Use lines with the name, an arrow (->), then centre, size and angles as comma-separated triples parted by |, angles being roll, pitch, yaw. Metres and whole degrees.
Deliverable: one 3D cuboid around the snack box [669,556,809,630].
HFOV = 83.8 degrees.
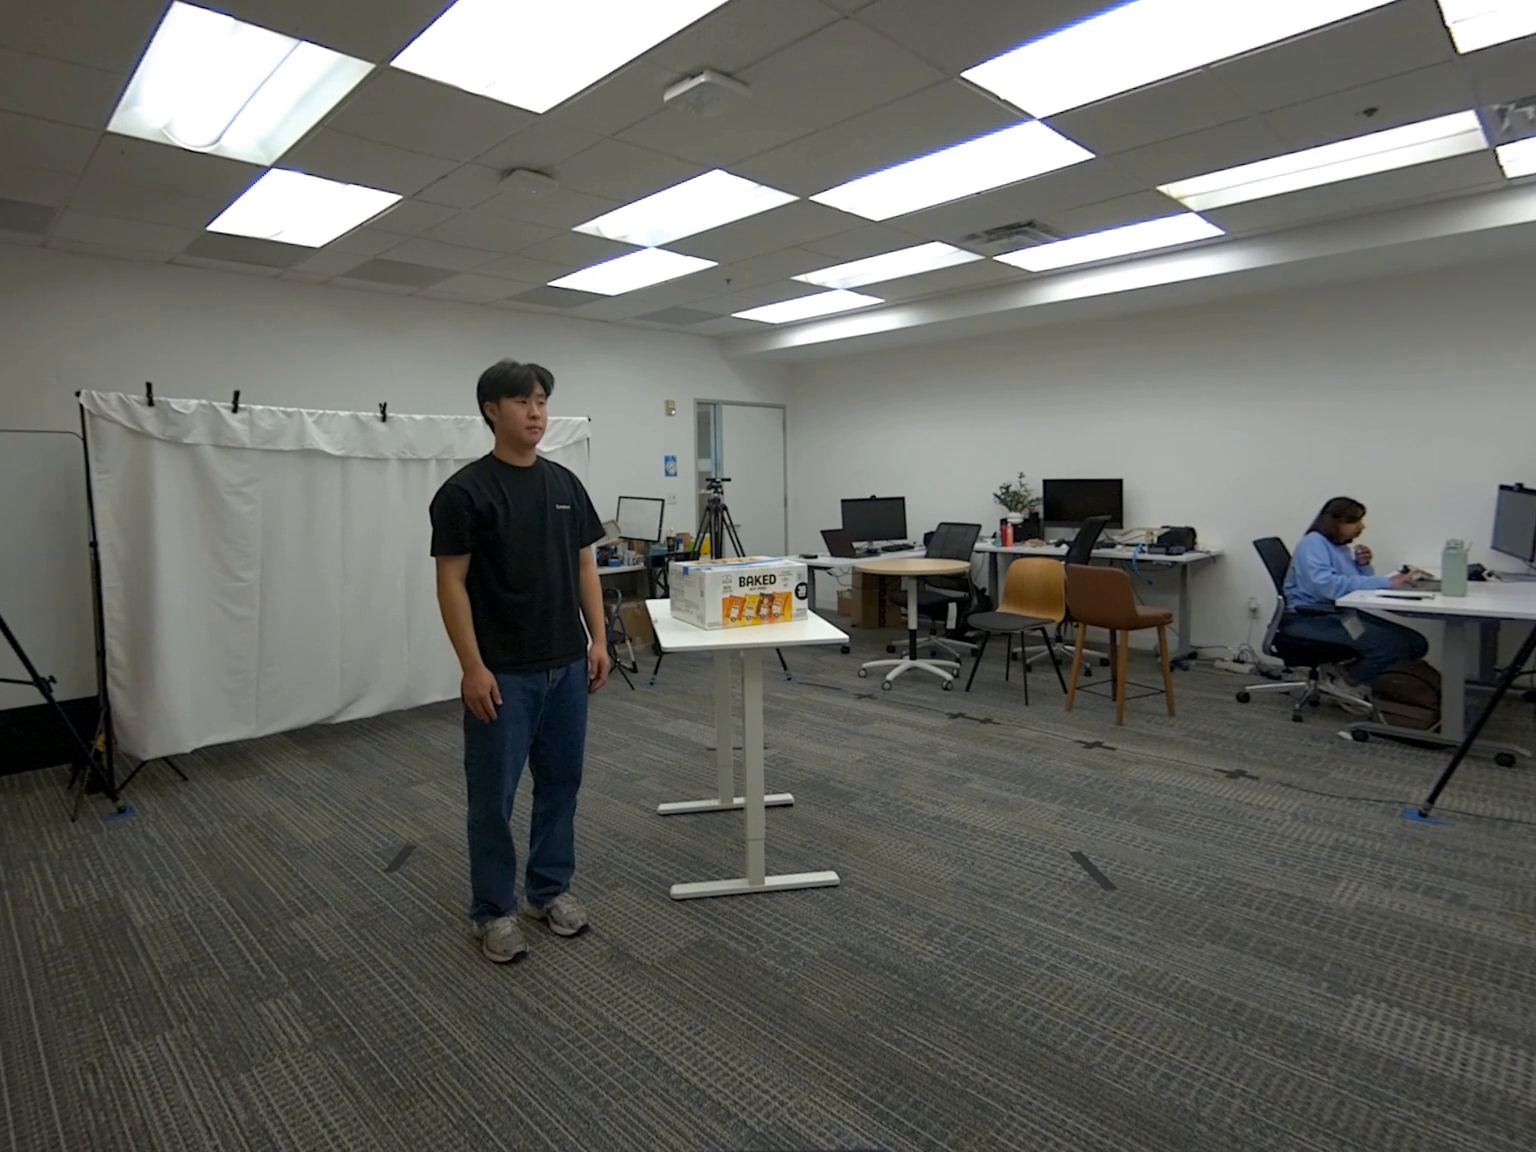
snack box -> -0.111, 0.054, 3.140 | 0.397, 0.205, 0.349 | -5, 7, -26
